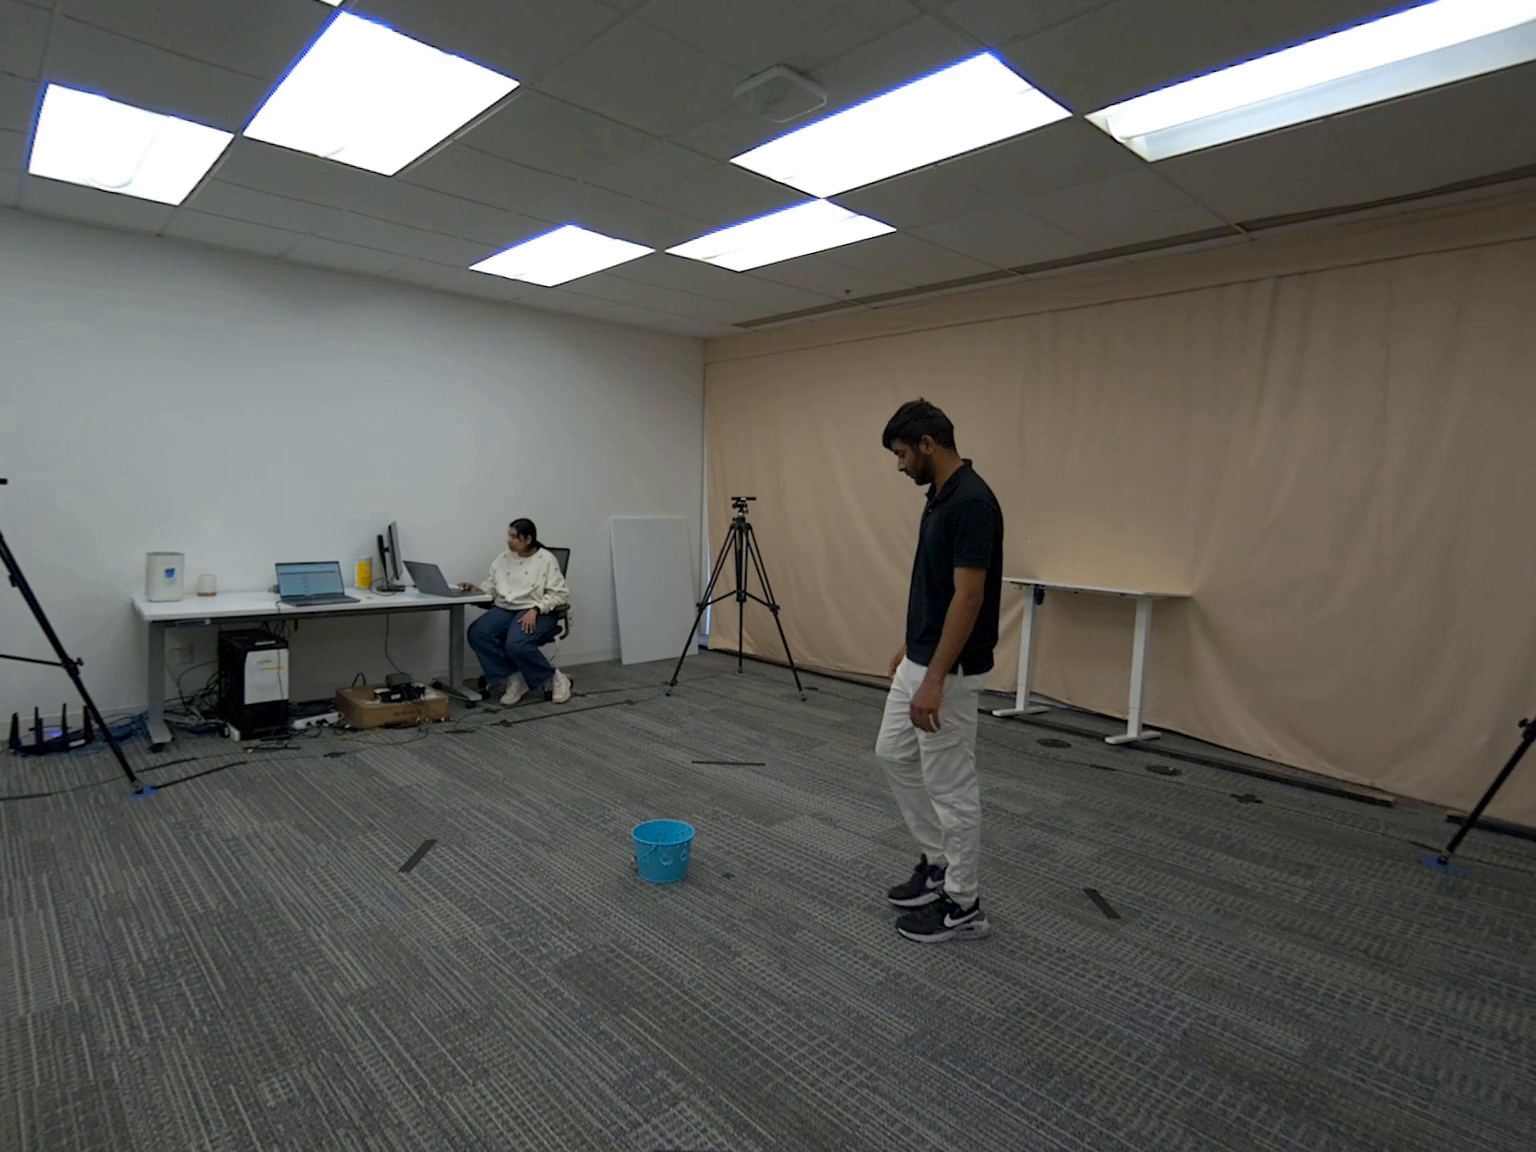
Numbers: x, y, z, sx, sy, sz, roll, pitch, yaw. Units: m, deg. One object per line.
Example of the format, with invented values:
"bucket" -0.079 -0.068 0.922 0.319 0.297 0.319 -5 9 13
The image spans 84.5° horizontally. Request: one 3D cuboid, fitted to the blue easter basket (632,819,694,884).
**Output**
"blue easter basket" -0.399 1.021 3.125 0.243 0.155 0.244 2 5 -1
